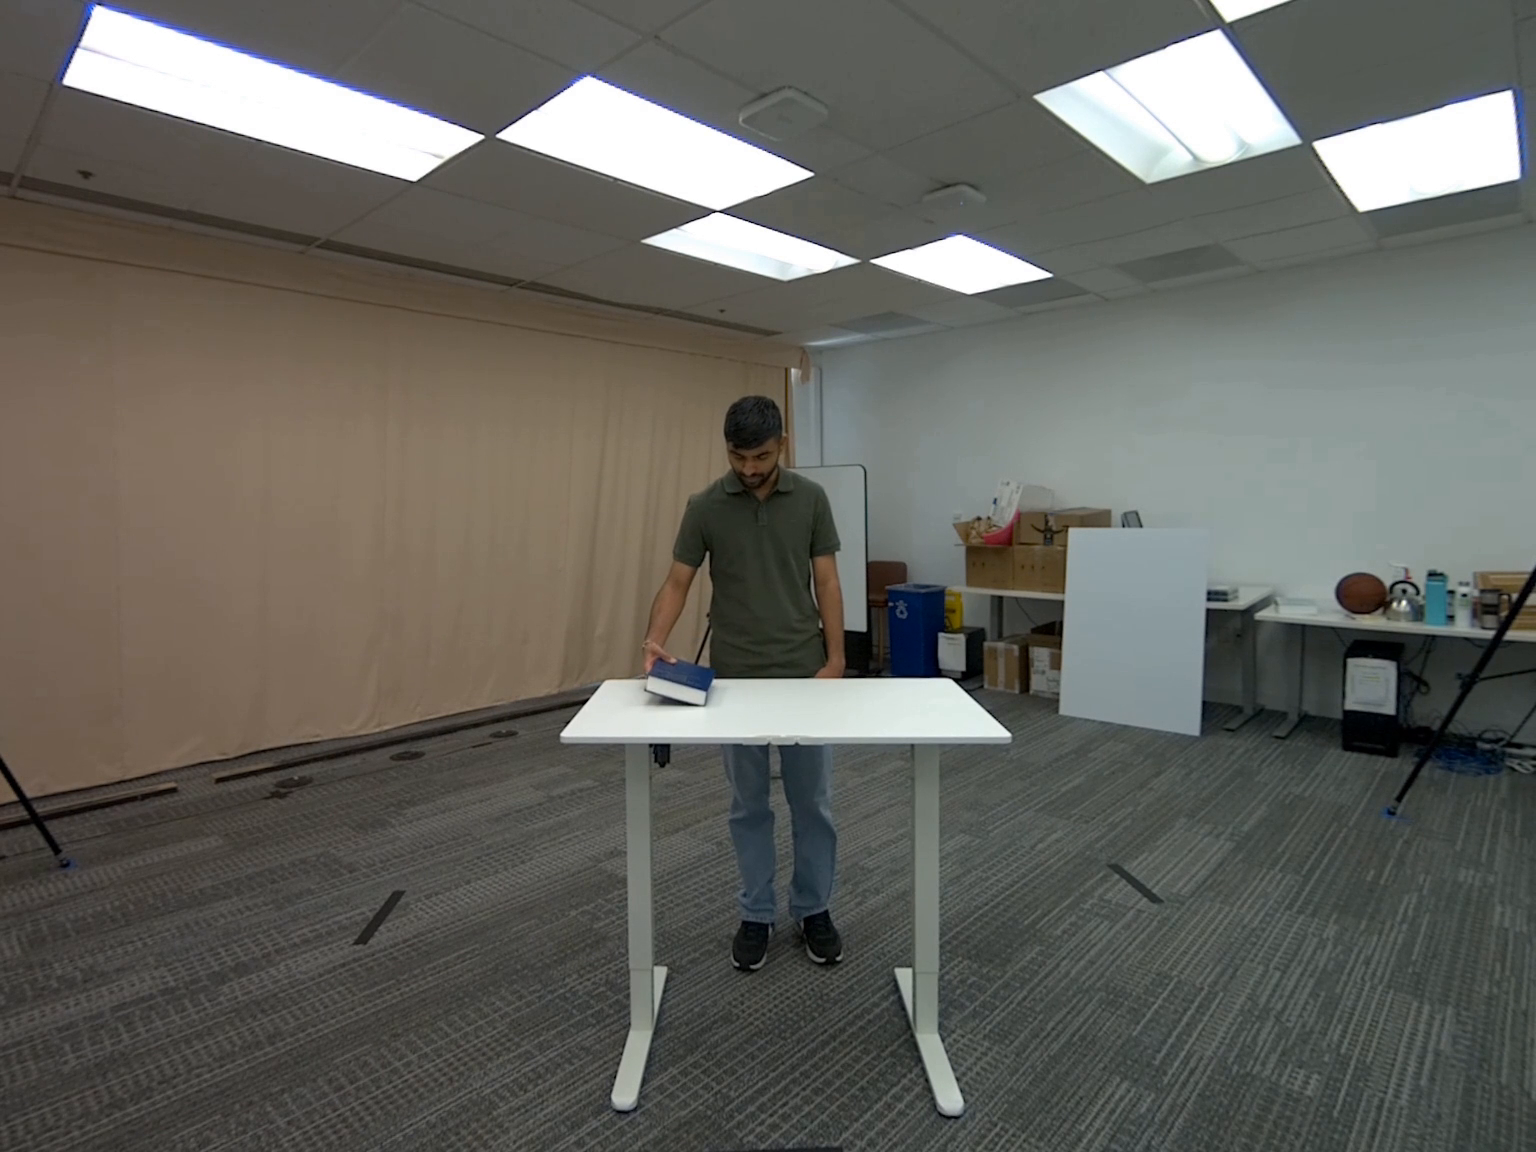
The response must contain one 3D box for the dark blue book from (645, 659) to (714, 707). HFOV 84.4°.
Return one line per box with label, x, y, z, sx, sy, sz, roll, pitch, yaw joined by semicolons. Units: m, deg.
dark blue book;-0.228;0.277;2.250;0.165;0.045;0.244;13;7;5
